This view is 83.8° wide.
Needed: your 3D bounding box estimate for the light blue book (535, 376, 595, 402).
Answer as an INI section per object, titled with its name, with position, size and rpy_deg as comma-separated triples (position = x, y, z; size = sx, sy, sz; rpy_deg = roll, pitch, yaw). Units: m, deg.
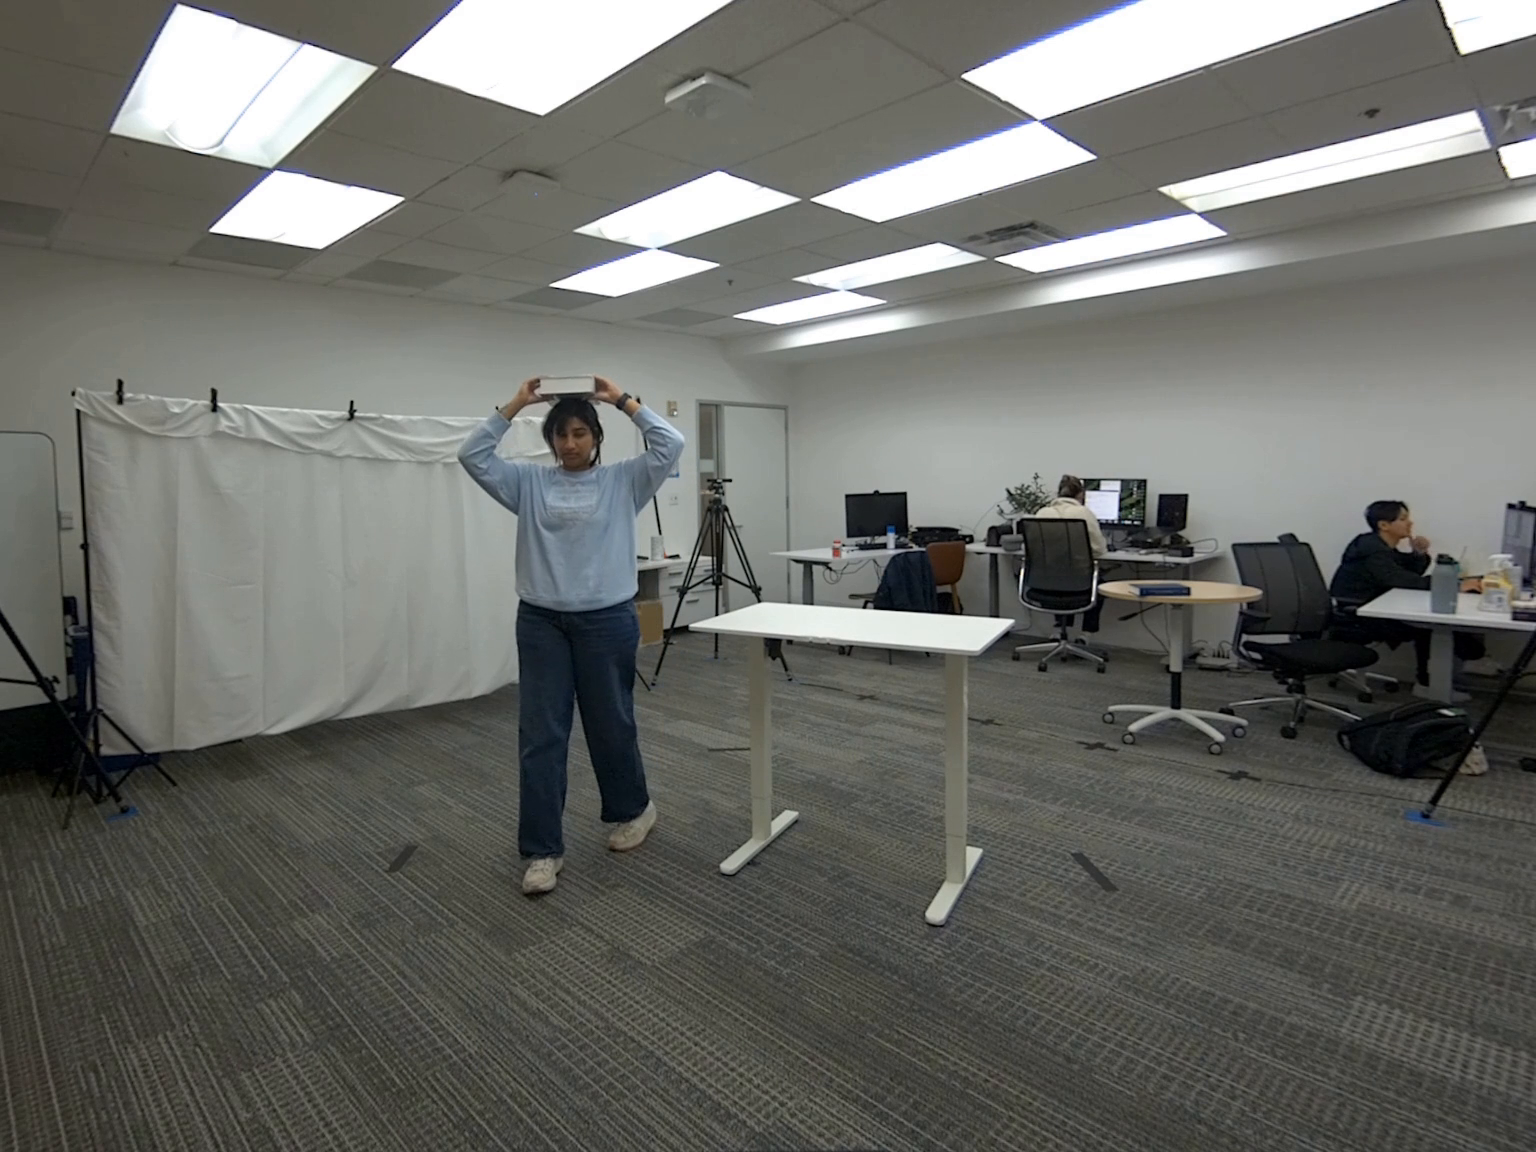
[light blue book]
position = -0.707, -0.657, 3.039
size = 0.192, 0.059, 0.261
rpy_deg = -2, 3, 2
